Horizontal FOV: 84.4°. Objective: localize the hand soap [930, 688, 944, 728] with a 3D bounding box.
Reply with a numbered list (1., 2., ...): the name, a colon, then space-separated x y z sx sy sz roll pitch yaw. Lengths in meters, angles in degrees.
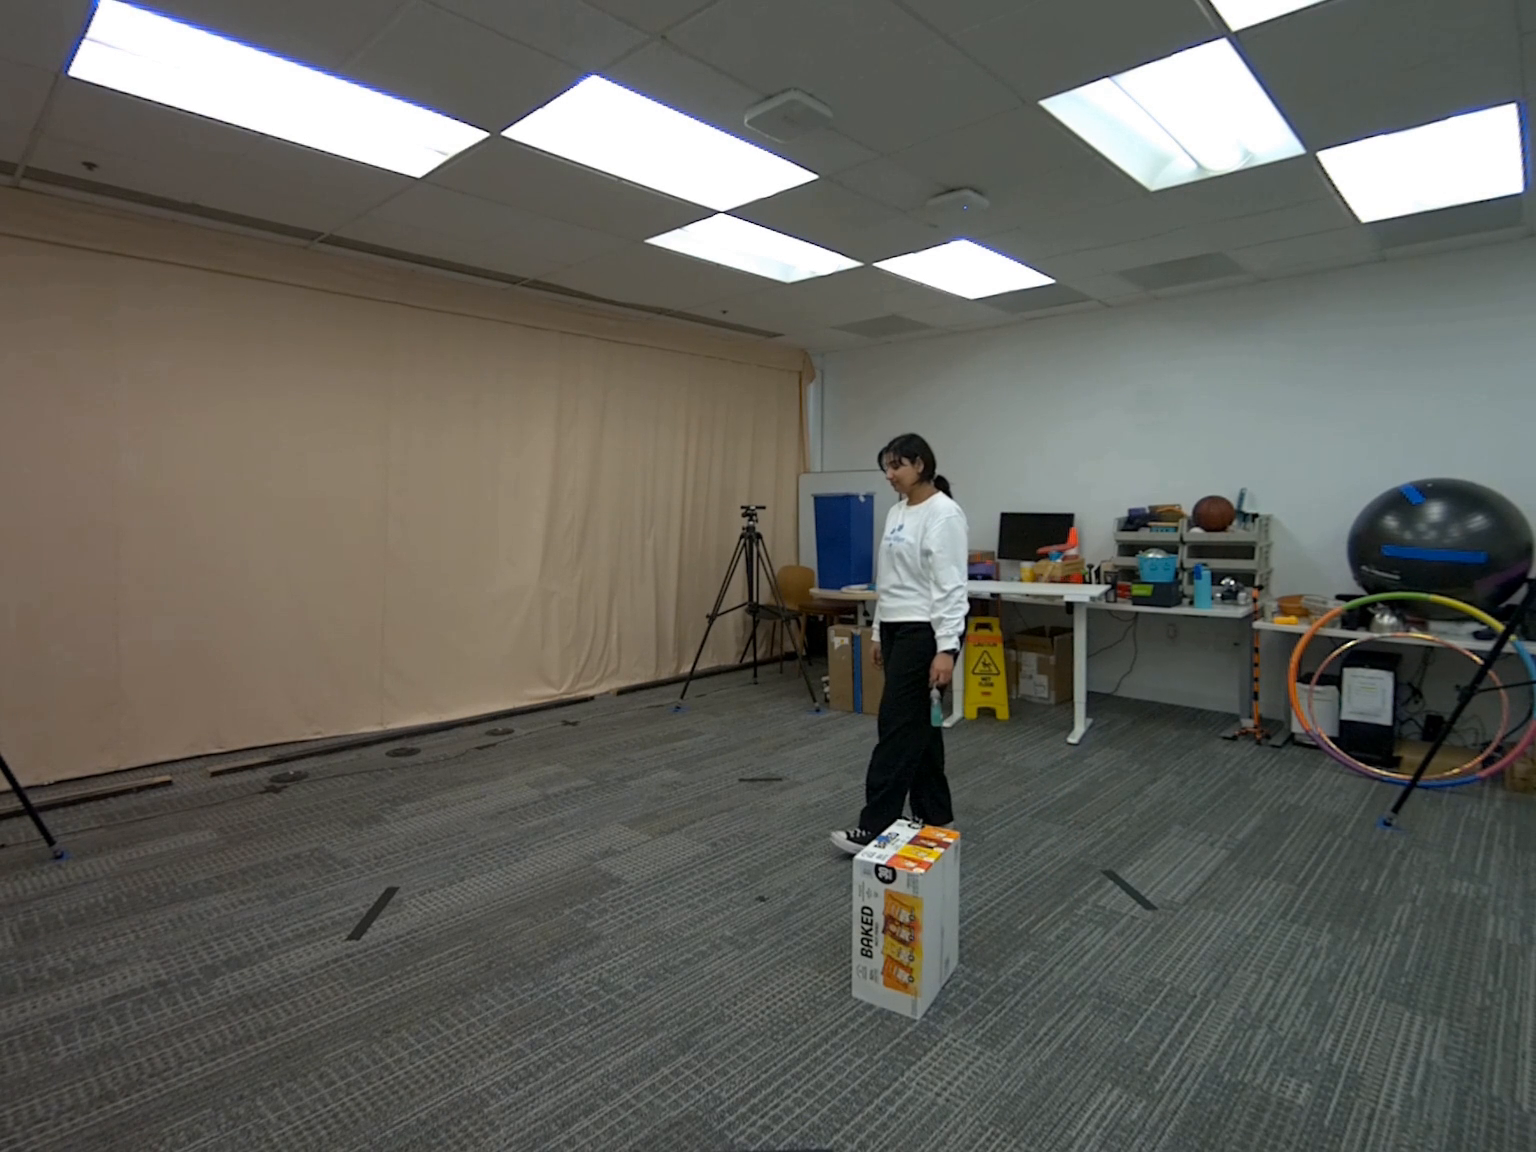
1. hand soap: 0.650 0.486 3.233 0.044 0.167 0.084 -5 5 5
